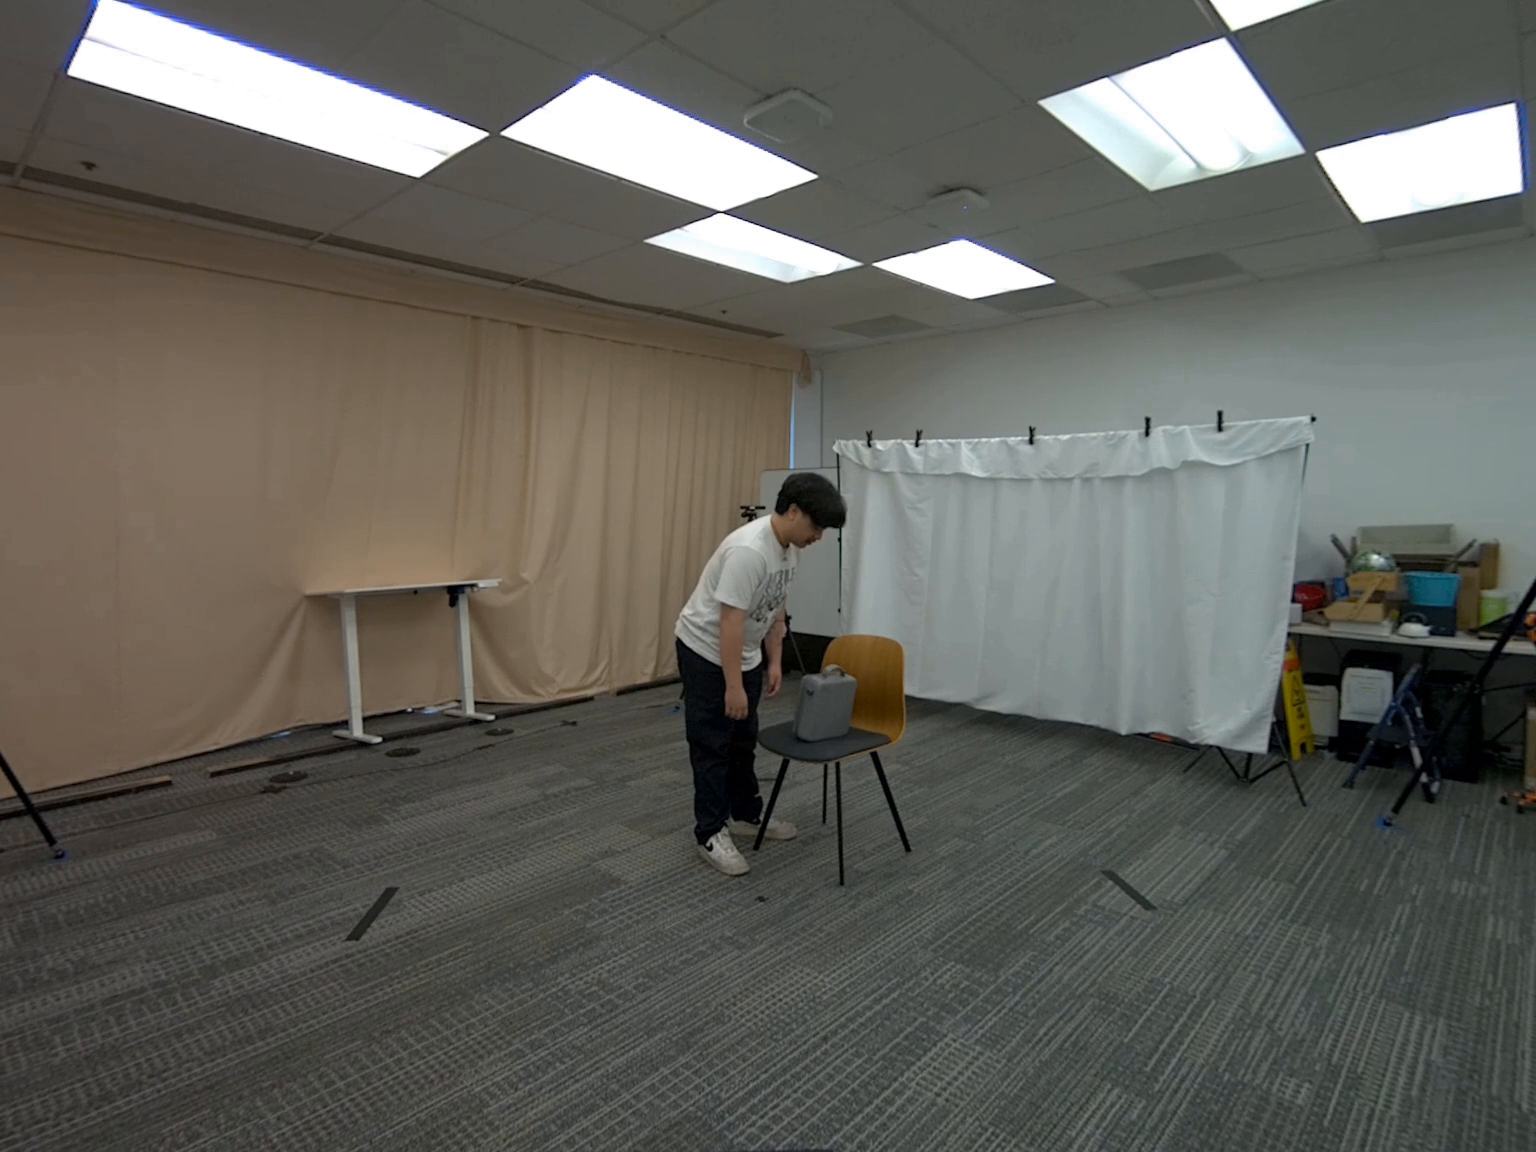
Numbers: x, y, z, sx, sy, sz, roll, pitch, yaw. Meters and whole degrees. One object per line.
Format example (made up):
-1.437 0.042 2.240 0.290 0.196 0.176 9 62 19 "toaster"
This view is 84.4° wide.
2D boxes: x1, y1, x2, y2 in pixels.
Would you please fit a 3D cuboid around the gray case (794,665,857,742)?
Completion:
0.228 0.510 3.324 0.249 0.259 0.108 1 11 -44 "gray case"
